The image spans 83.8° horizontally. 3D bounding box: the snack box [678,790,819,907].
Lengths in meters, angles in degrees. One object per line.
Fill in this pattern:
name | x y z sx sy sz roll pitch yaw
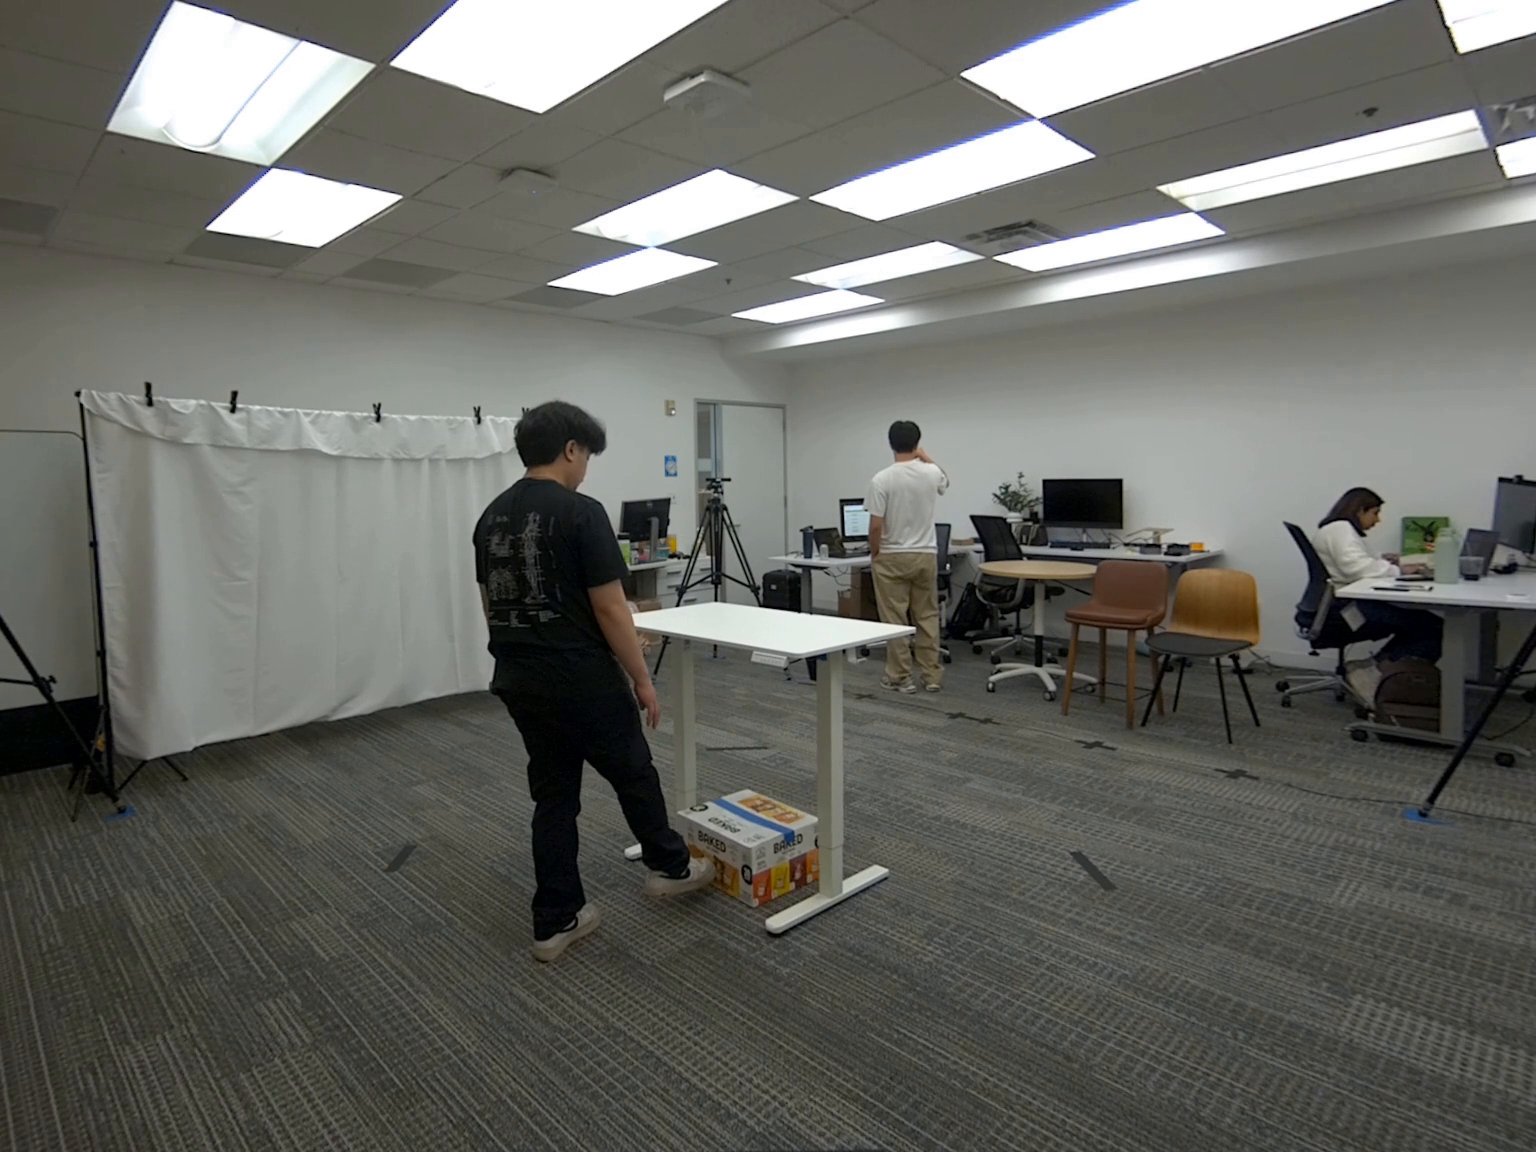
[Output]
snack box | -0.064 0.951 3.025 0.331 0.205 0.418 -5 7 -41
